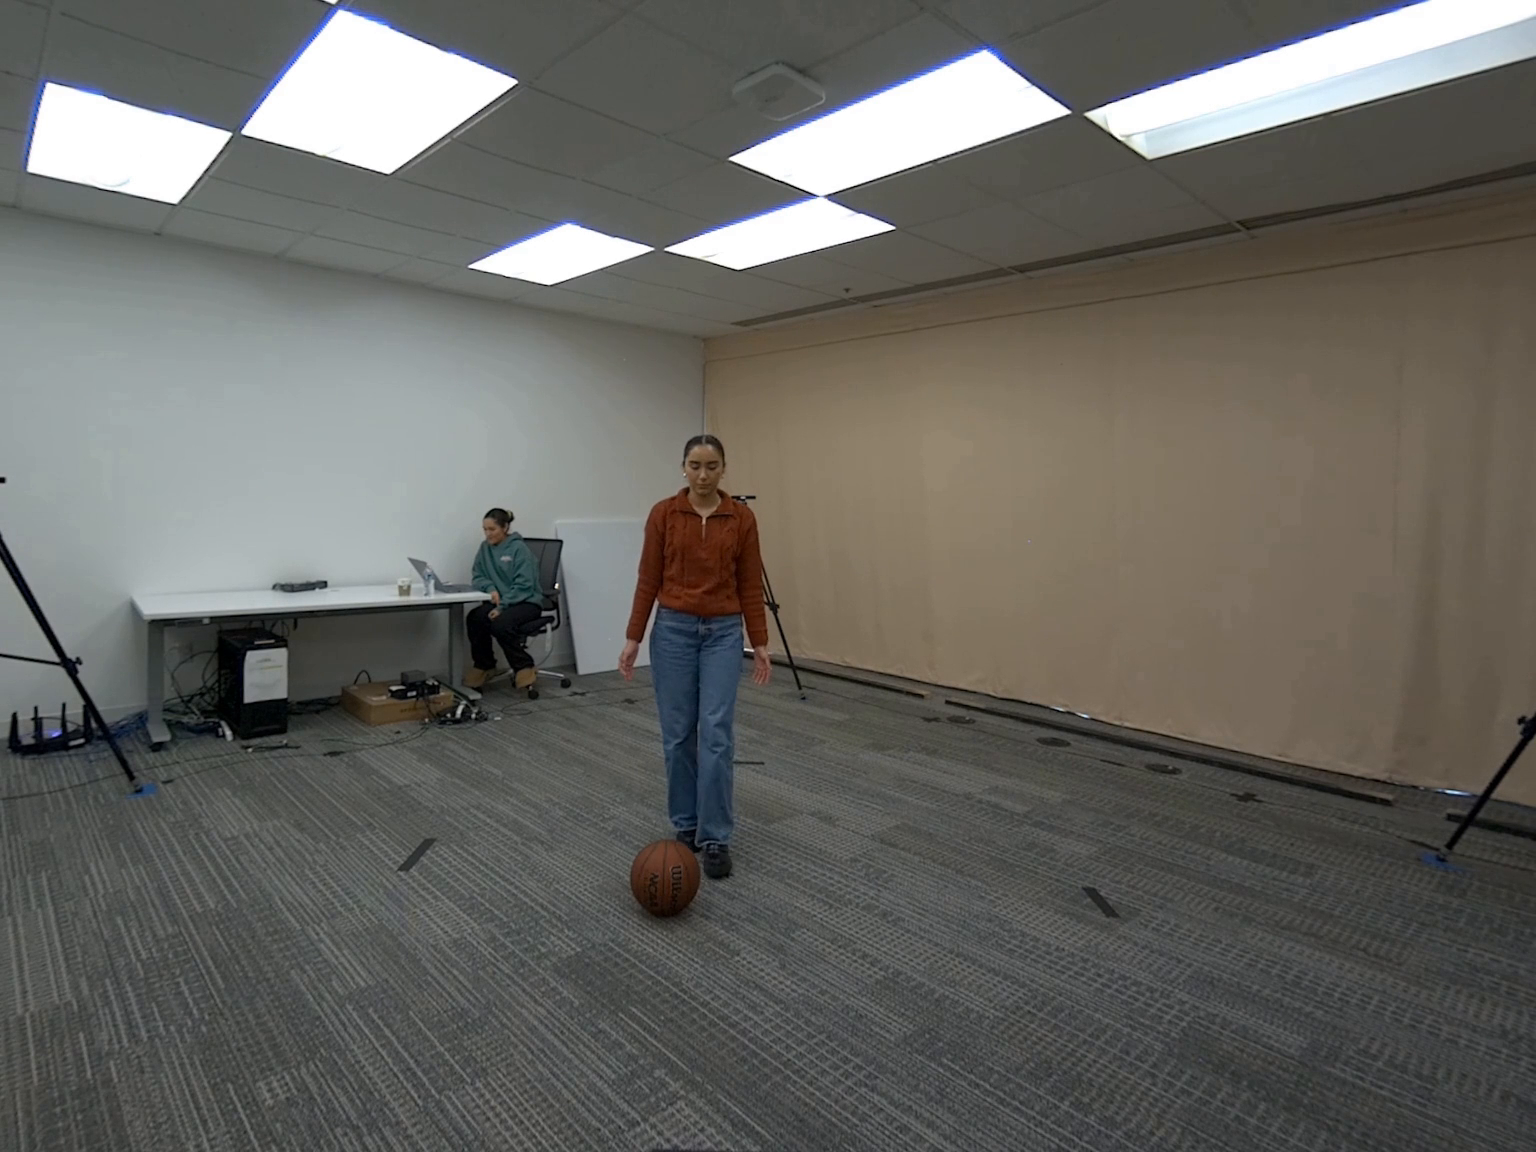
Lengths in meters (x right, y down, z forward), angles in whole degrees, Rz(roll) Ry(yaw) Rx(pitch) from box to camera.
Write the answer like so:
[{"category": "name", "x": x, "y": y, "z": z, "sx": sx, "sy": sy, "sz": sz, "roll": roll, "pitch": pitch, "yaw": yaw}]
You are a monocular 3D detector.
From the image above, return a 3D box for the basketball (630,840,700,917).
[{"category": "basketball", "x": -0.356, "y": 1.003, "z": 2.819, "sx": 0.236, "sy": 0.235, "sz": 0.237, "roll": 1, "pitch": 4, "yaw": -1}]
